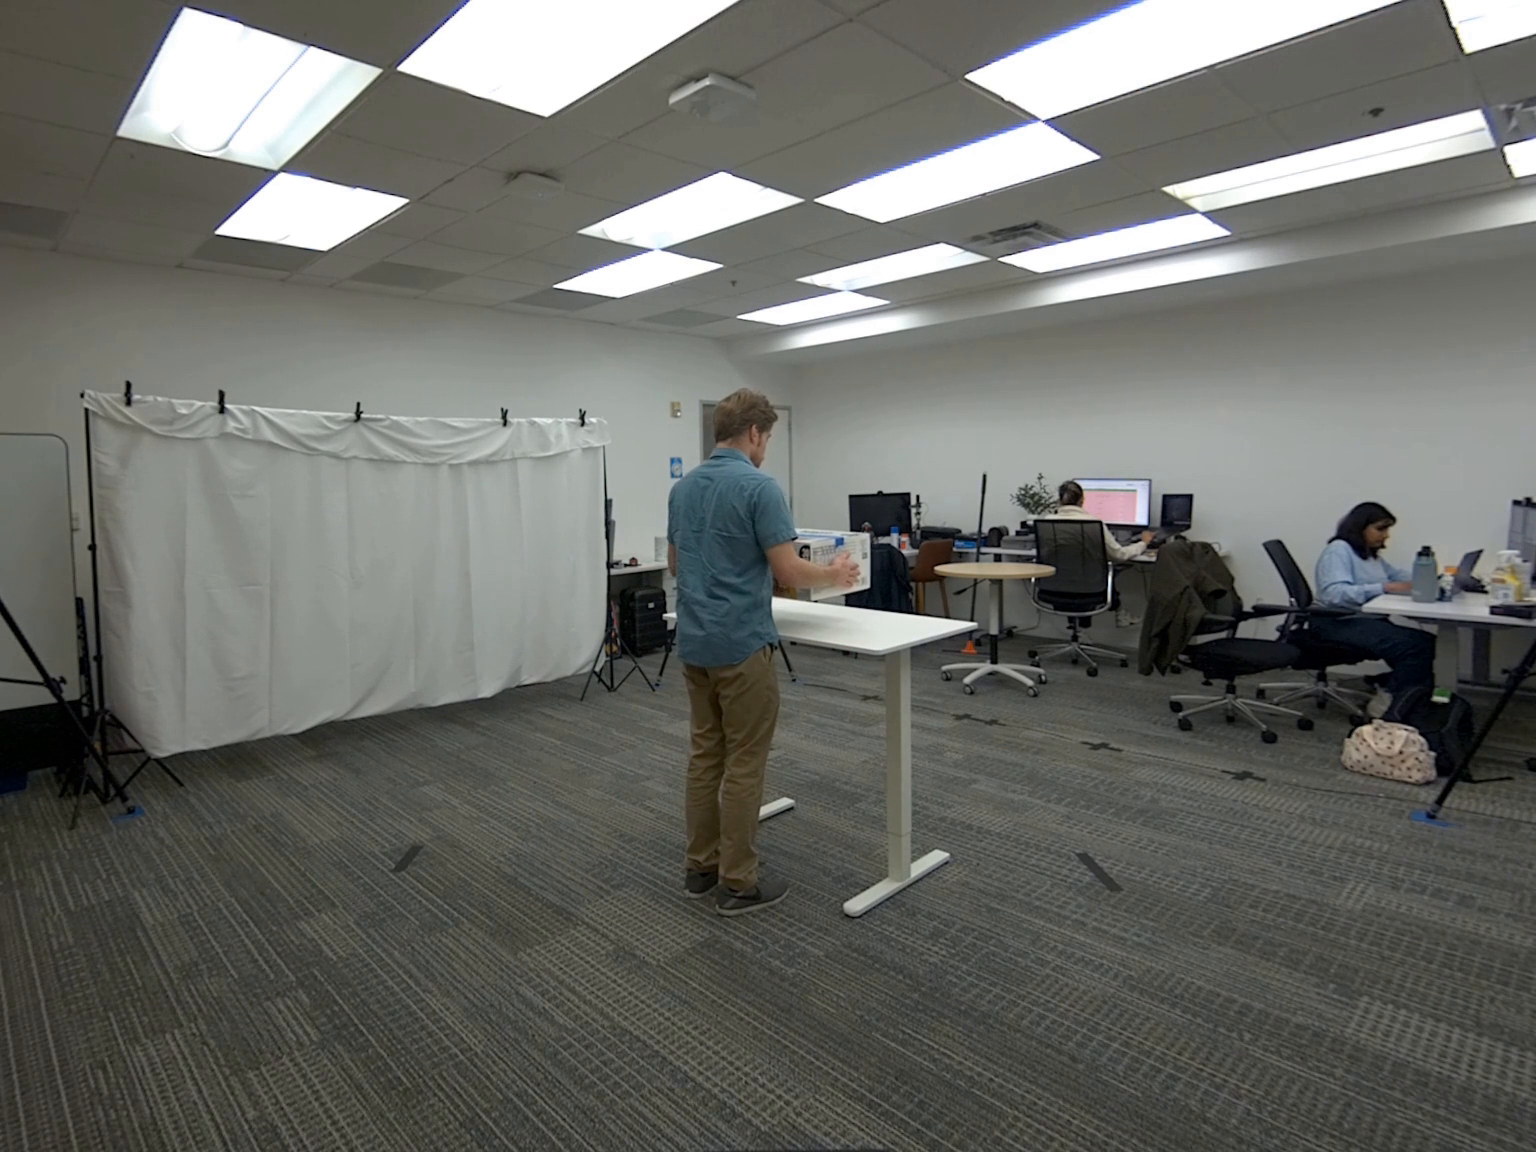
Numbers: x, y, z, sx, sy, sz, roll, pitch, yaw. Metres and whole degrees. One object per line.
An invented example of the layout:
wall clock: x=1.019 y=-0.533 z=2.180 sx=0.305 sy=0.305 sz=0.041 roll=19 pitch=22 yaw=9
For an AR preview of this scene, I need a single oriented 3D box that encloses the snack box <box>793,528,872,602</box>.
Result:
snack box: x=0.107 y=-0.050 z=3.117 sx=0.418 sy=0.204 sz=0.332 roll=6 pitch=11 yaw=43
